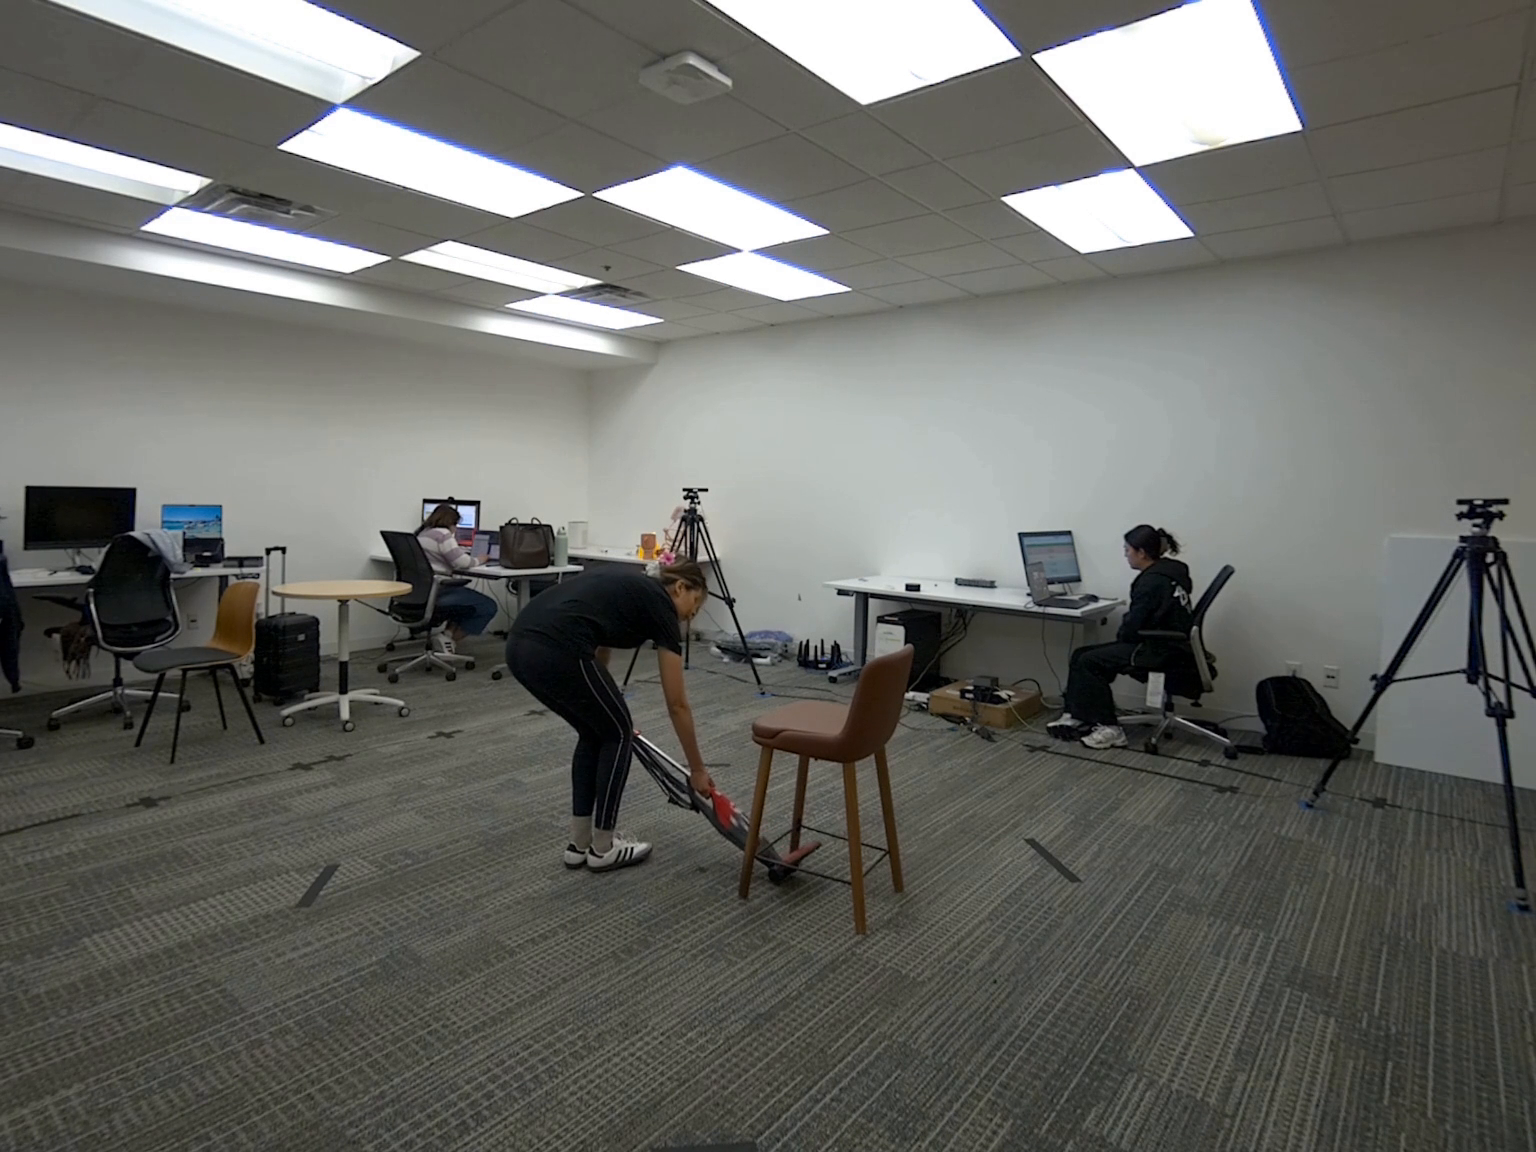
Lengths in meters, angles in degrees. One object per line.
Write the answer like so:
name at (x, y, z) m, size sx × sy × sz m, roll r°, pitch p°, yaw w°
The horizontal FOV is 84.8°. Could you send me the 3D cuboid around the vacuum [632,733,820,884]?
vacuum at (-0.324, 0.815, 3.301) m, size 1.090 × 0.143 × 0.245 m, roll 28°, pitch 18°, yaw 33°
